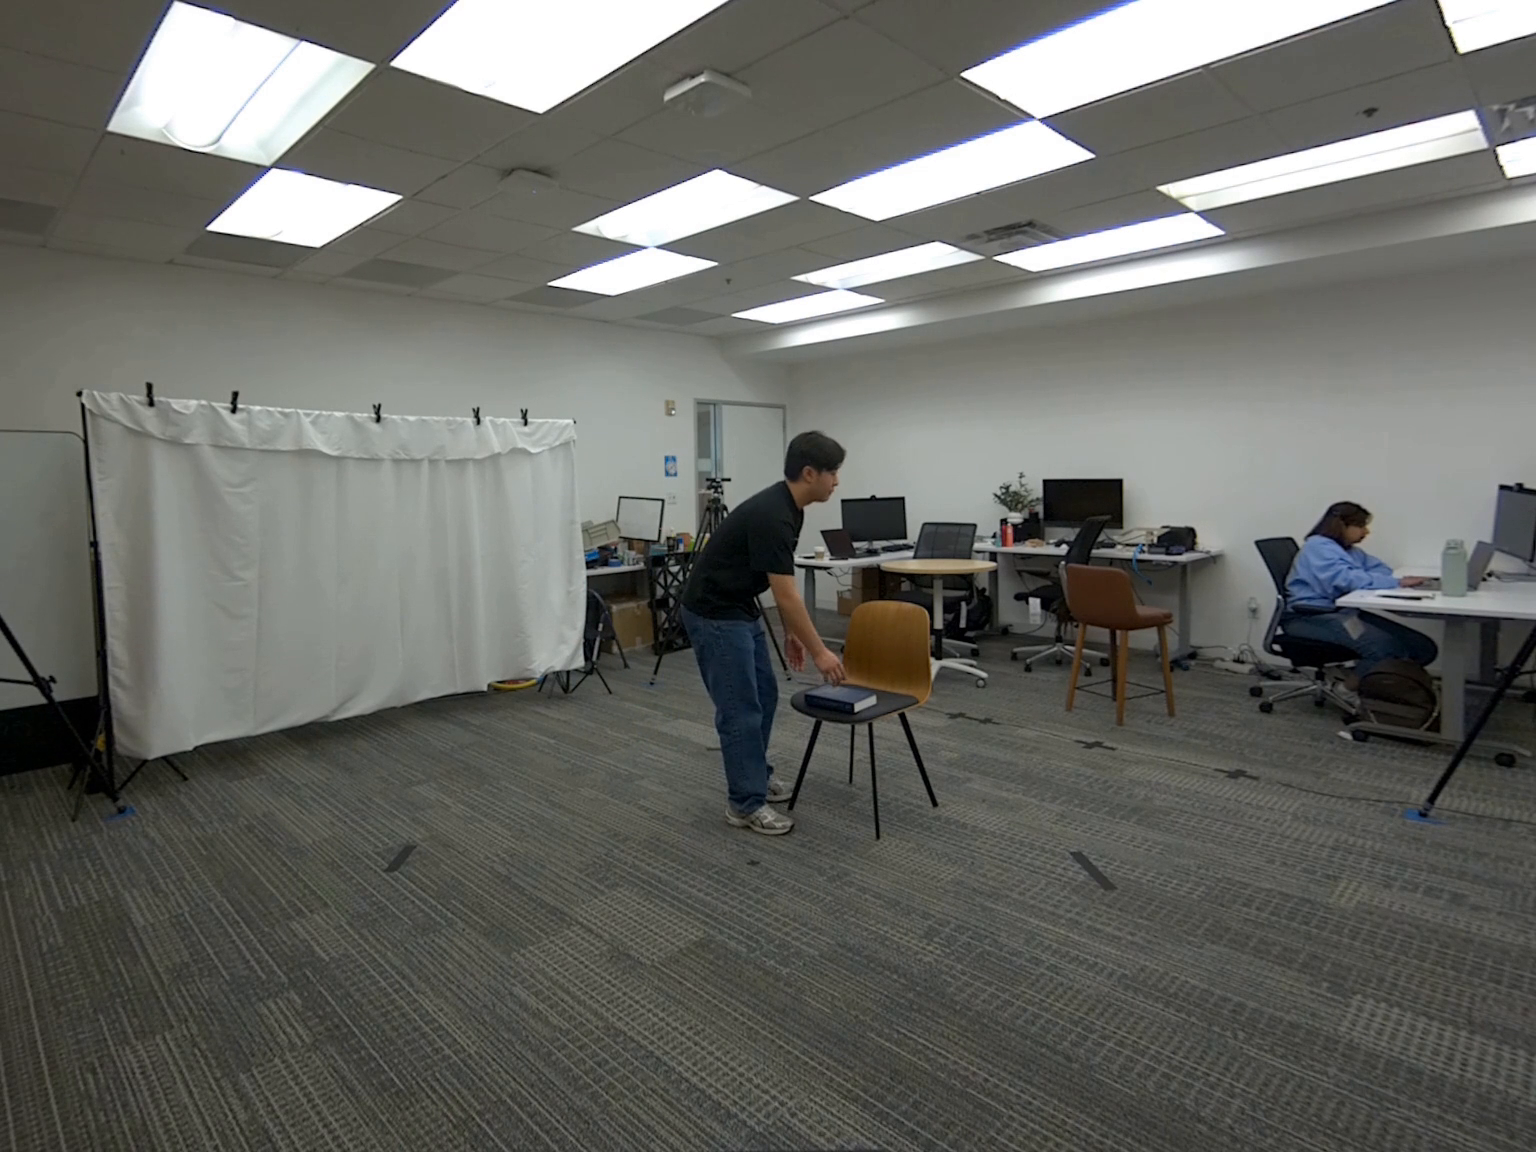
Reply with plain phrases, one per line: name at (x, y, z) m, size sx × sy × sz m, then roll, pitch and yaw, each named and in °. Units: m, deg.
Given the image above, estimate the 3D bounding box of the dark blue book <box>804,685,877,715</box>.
dark blue book at (0.293, 0.488, 3.435) m, size 0.252 × 0.045 × 0.159 m, roll 4°, pitch 10°, yaw 41°
